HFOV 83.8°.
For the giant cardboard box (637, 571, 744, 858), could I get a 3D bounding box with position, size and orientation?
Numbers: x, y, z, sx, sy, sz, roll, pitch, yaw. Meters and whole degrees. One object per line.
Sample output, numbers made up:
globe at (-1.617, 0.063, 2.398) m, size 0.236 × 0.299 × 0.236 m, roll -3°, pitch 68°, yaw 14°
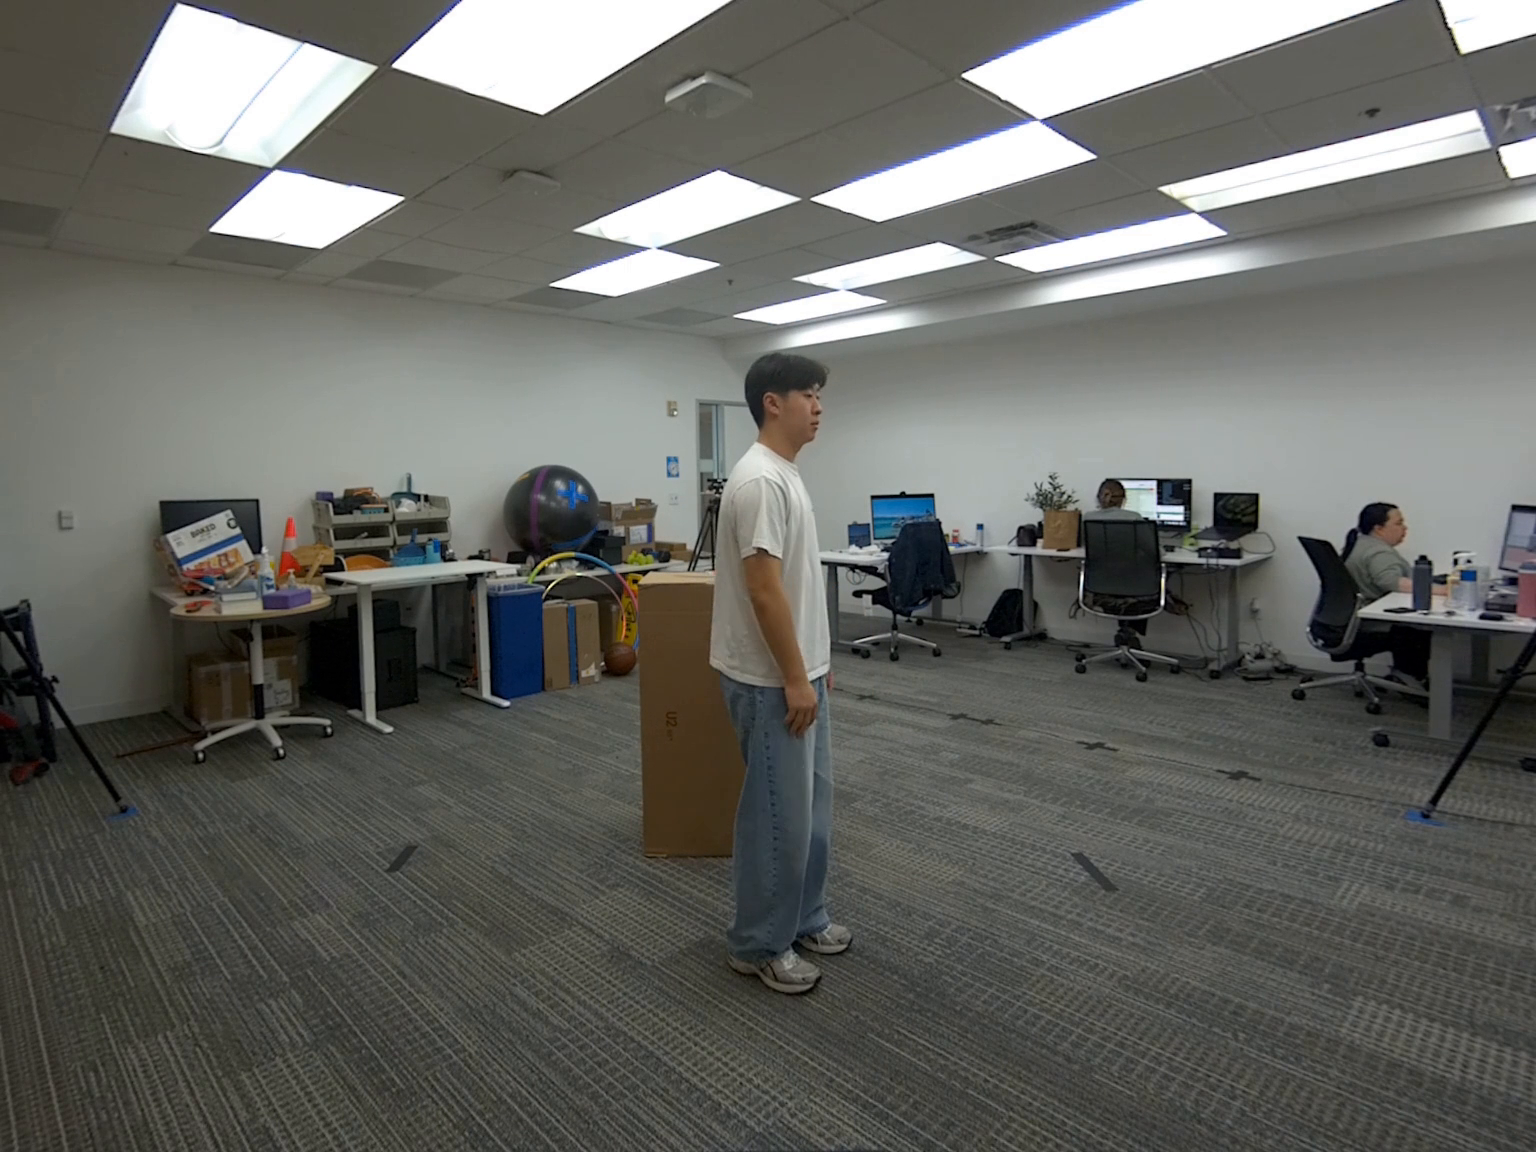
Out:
giant cardboard box at (-0.192, 0.515, 3.353) m, size 0.577 × 1.023 × 0.427 m, roll -1°, pitch 3°, yaw -1°
